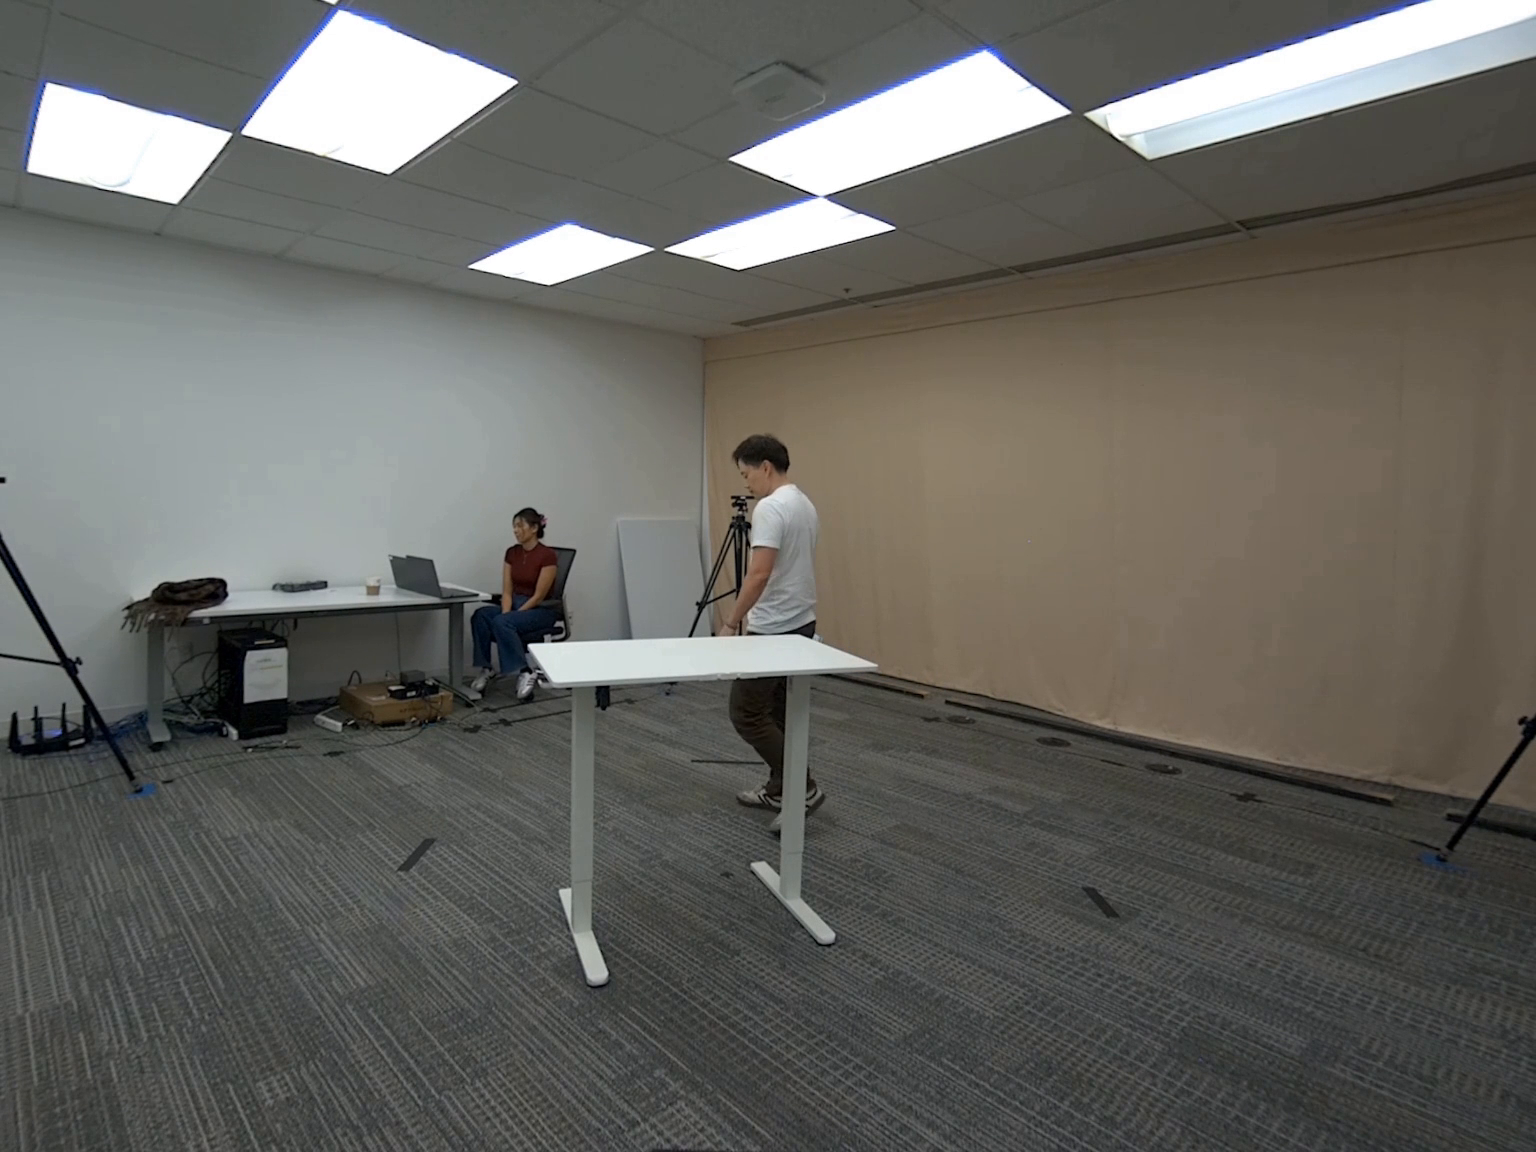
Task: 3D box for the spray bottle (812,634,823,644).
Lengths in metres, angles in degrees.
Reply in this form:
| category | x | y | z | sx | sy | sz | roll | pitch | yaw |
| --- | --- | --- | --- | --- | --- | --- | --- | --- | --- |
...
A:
| category | x | y | z | sx | sy | sz | roll | pitch | yaw |
| --- | --- | --- | --- | --- | --- | --- | --- | --- | --- |
| spray bottle | 0.114 | 0.269 | 3.981 | 0.296 | 0.087 | 0.090 | 31 | 2 | -4 |
